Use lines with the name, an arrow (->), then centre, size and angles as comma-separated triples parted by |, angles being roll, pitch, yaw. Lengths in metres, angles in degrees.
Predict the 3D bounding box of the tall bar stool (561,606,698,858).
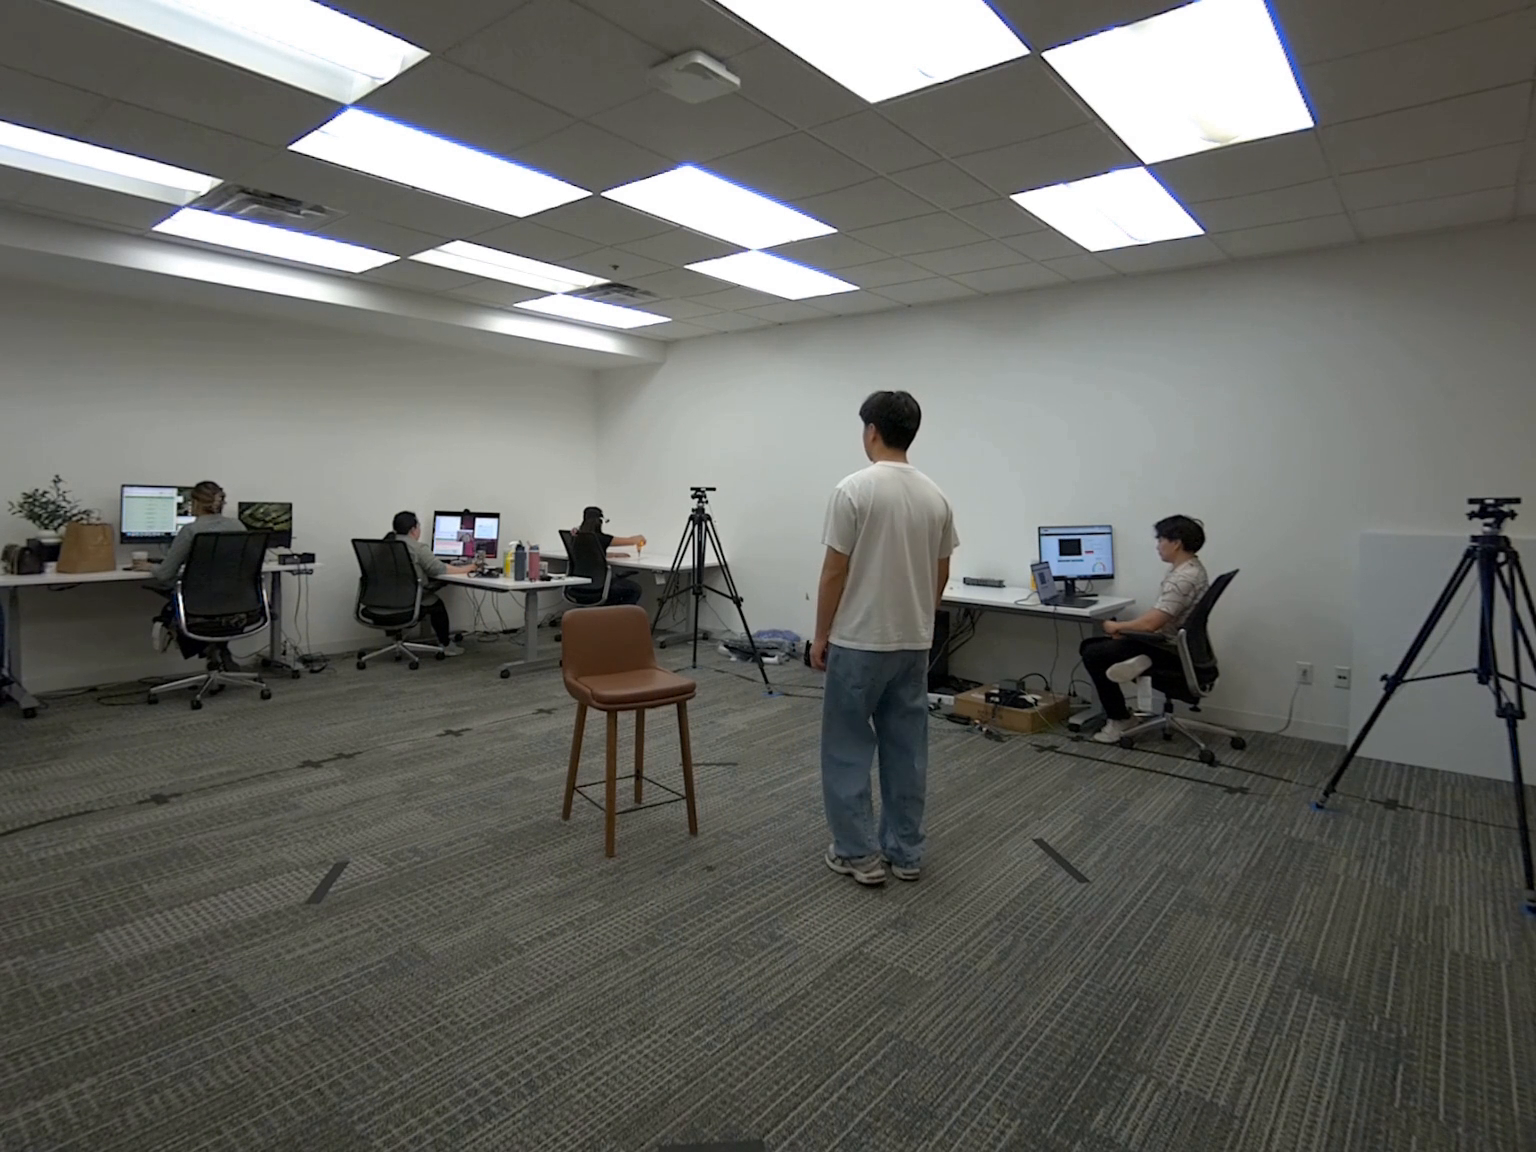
tall bar stool -> -0.586, 0.587, 3.466 | 0.443, 0.889, 0.482 | -1, 2, -38
